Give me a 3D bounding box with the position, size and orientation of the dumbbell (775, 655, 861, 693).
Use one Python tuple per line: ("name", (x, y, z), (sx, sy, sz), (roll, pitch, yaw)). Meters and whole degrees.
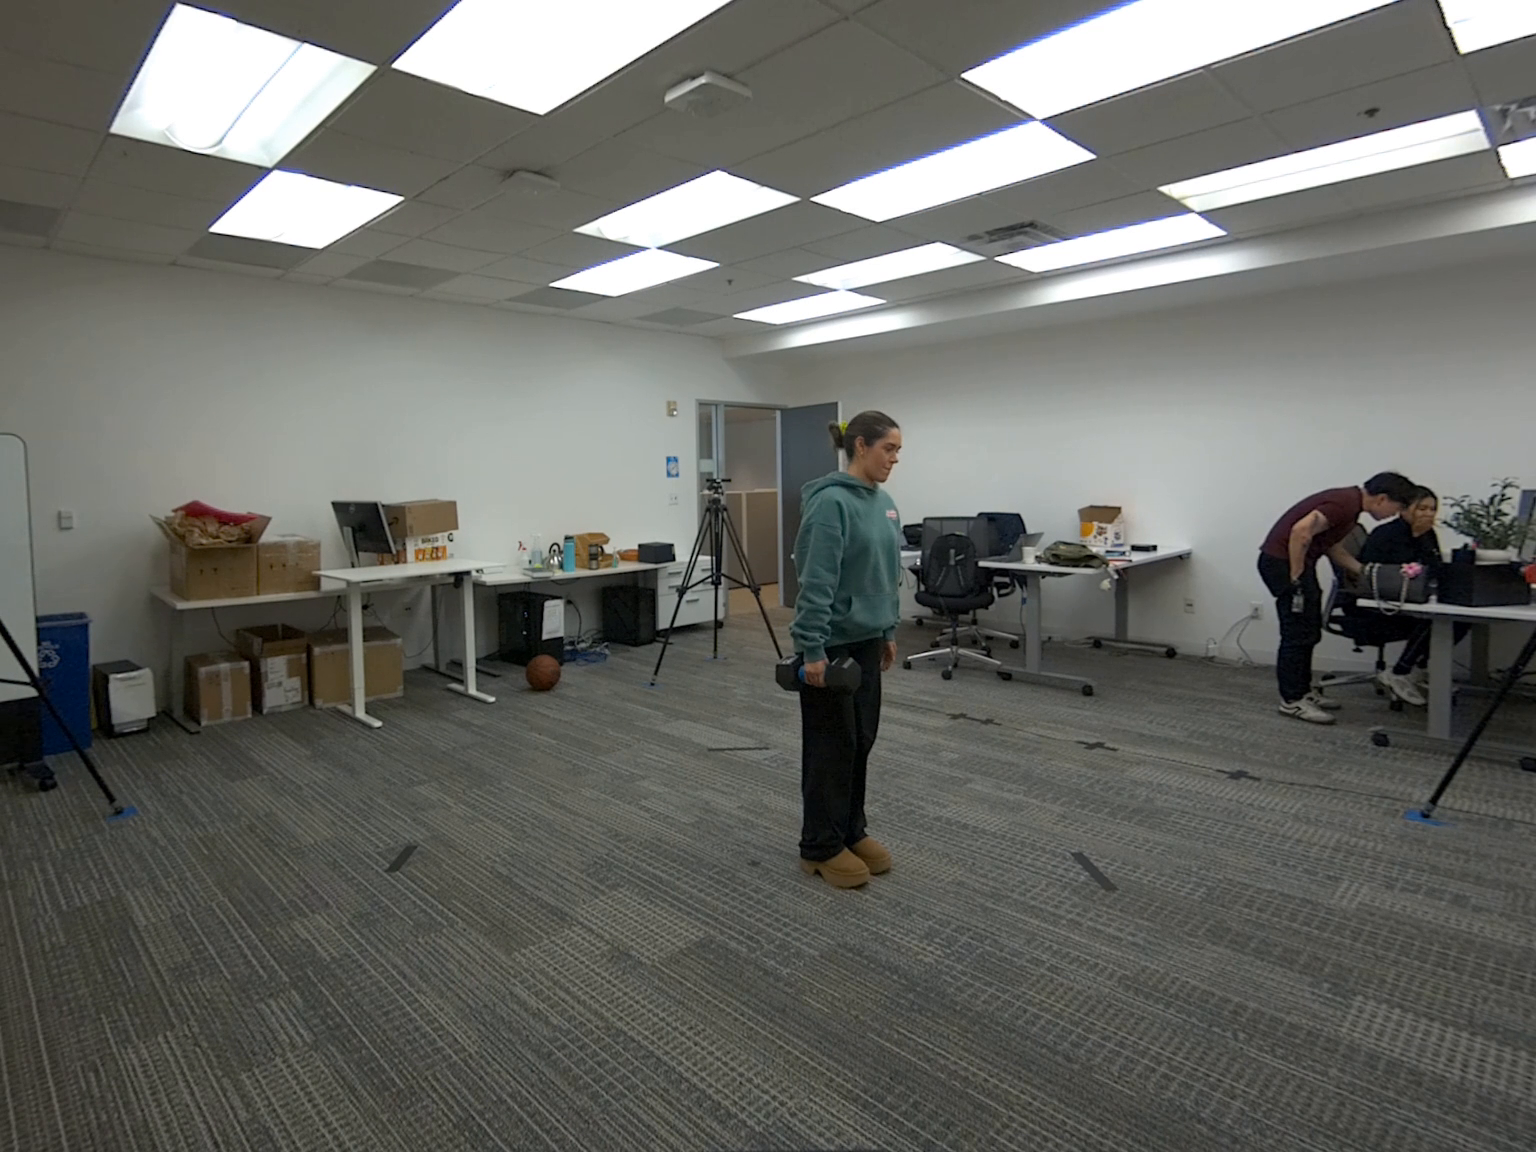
("dumbbell", (0.165, 0.336, 2.880), (0.301, 0.110, 0.118), (-3, -37, 40))
